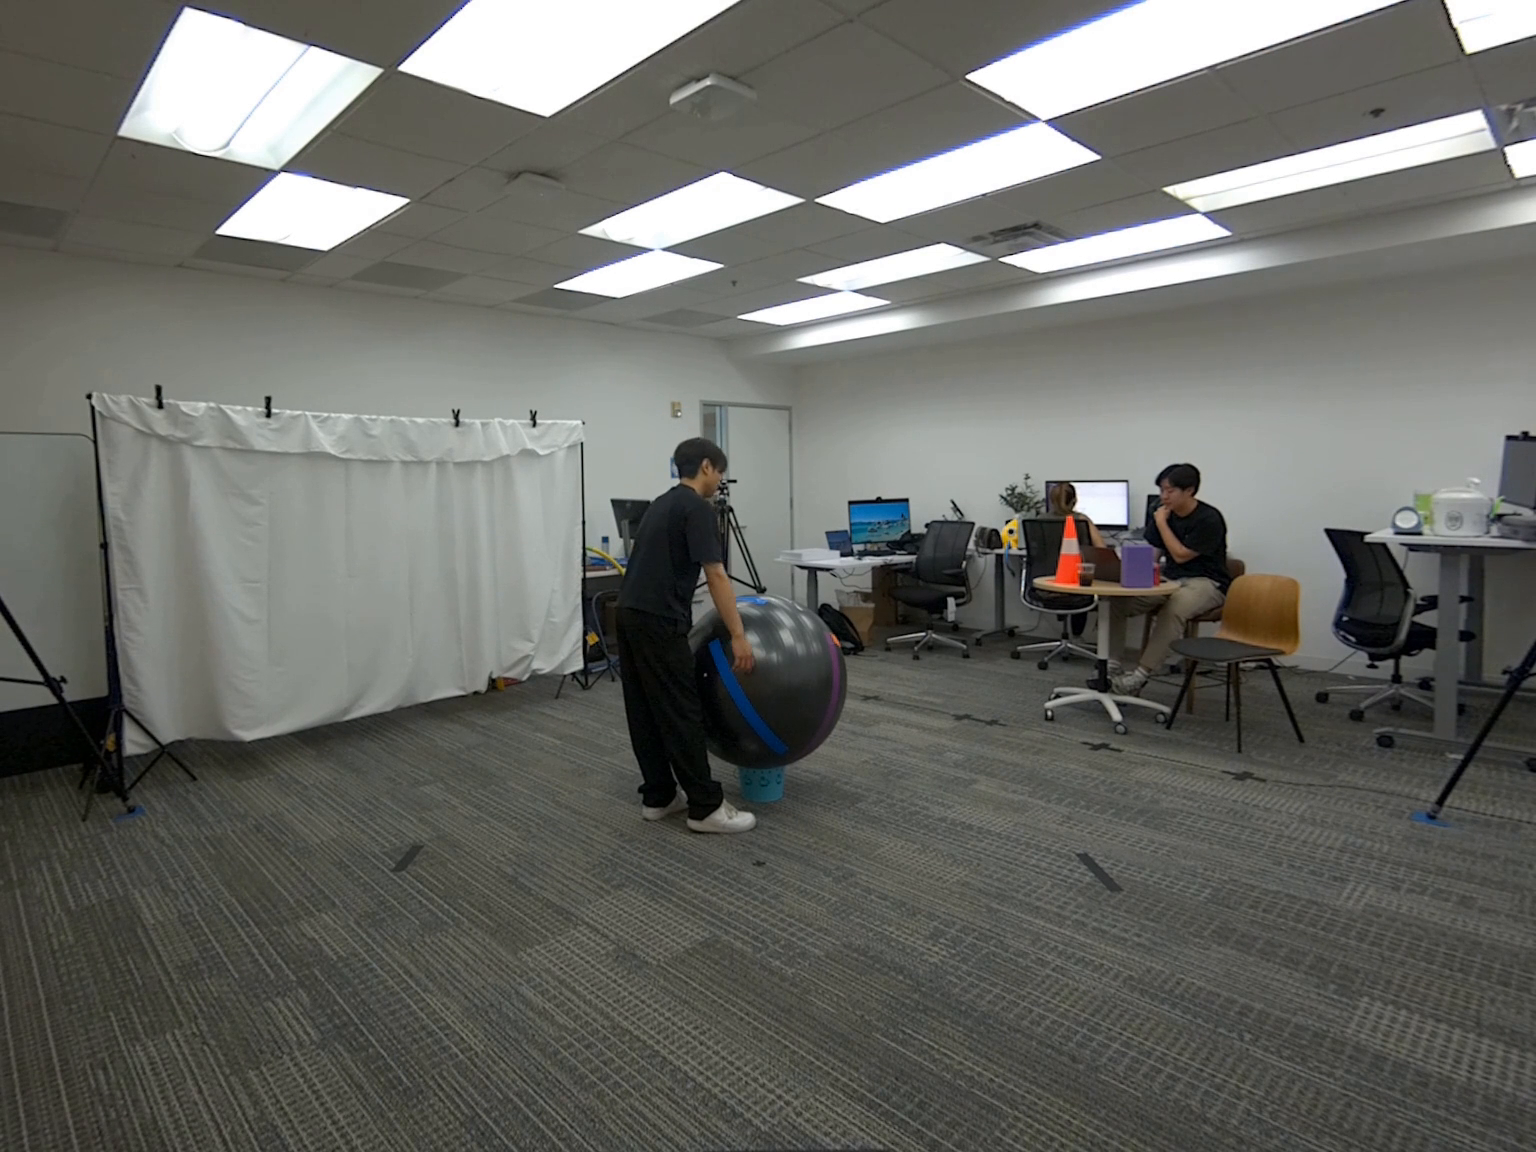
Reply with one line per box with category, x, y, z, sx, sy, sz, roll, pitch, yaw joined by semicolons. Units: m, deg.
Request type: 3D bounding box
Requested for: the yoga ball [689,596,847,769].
yoga ball;-0.025;0.466;3.775;0.757;0.755;0.762;-1;5;-2
